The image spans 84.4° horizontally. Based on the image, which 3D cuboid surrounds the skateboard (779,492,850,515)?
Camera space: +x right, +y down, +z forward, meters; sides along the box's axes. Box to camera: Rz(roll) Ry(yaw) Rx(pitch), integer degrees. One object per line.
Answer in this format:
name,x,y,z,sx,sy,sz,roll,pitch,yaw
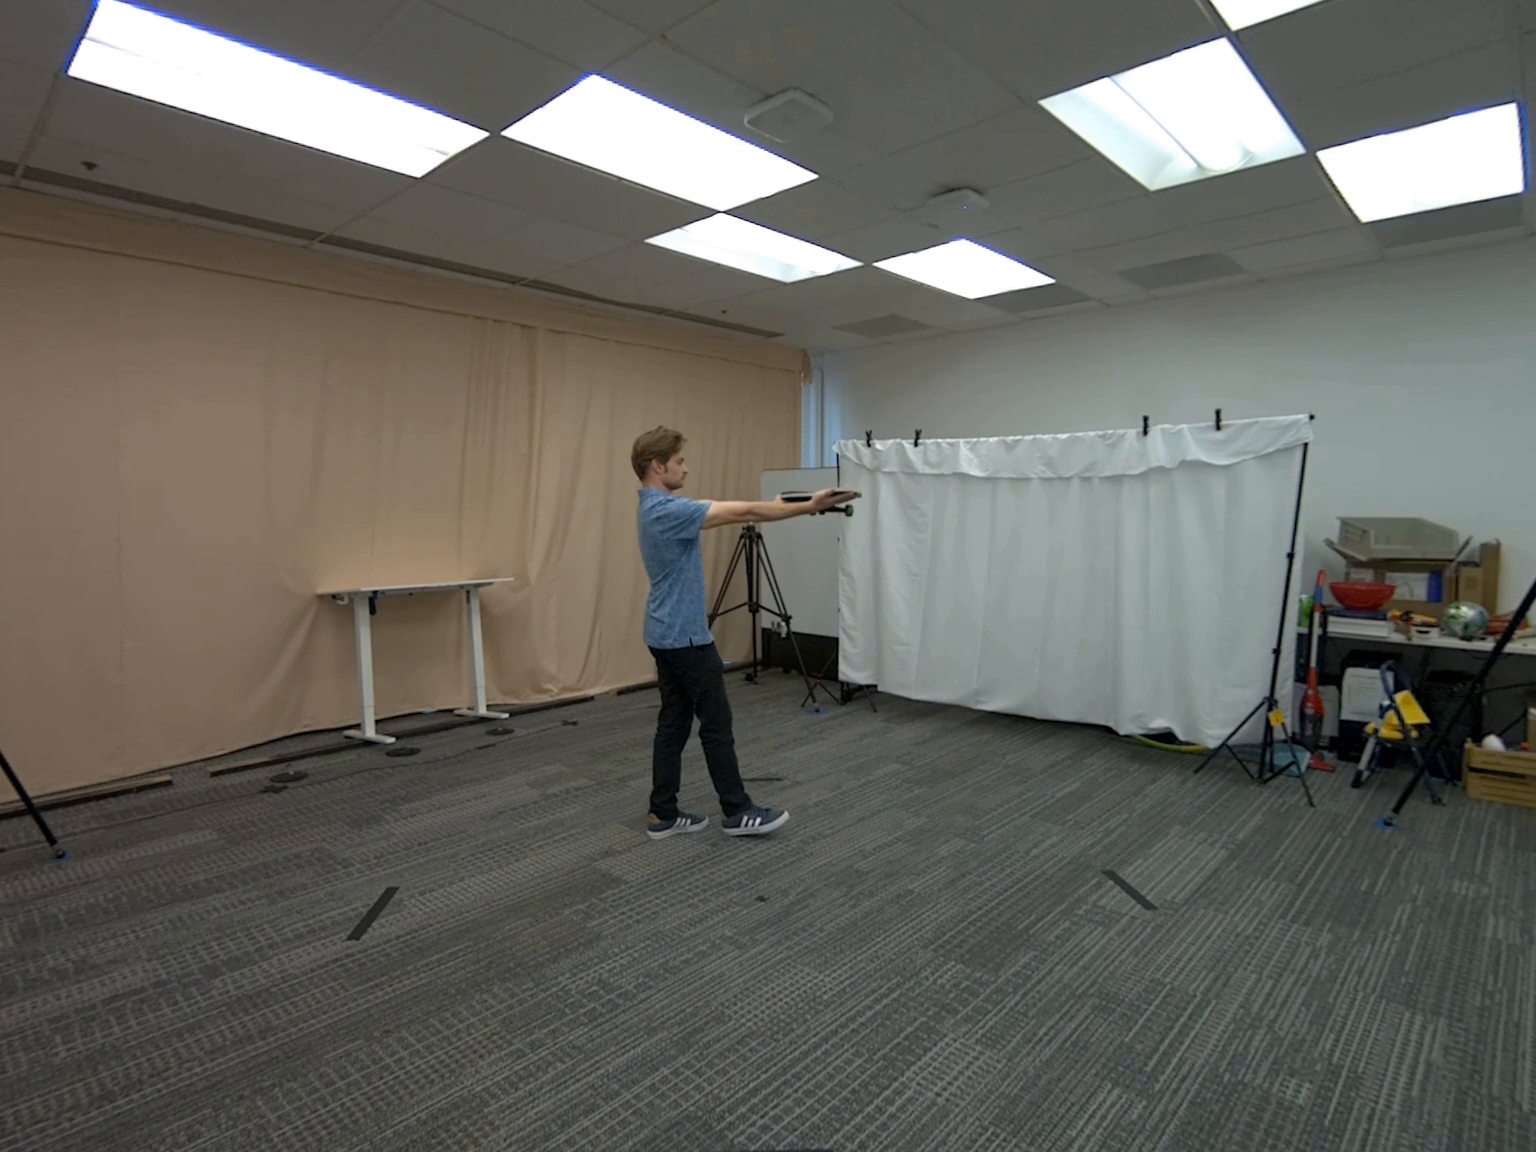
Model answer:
skateboard,0.209,-0.313,3.613,0.190,0.110,0.799,1,5,-15
